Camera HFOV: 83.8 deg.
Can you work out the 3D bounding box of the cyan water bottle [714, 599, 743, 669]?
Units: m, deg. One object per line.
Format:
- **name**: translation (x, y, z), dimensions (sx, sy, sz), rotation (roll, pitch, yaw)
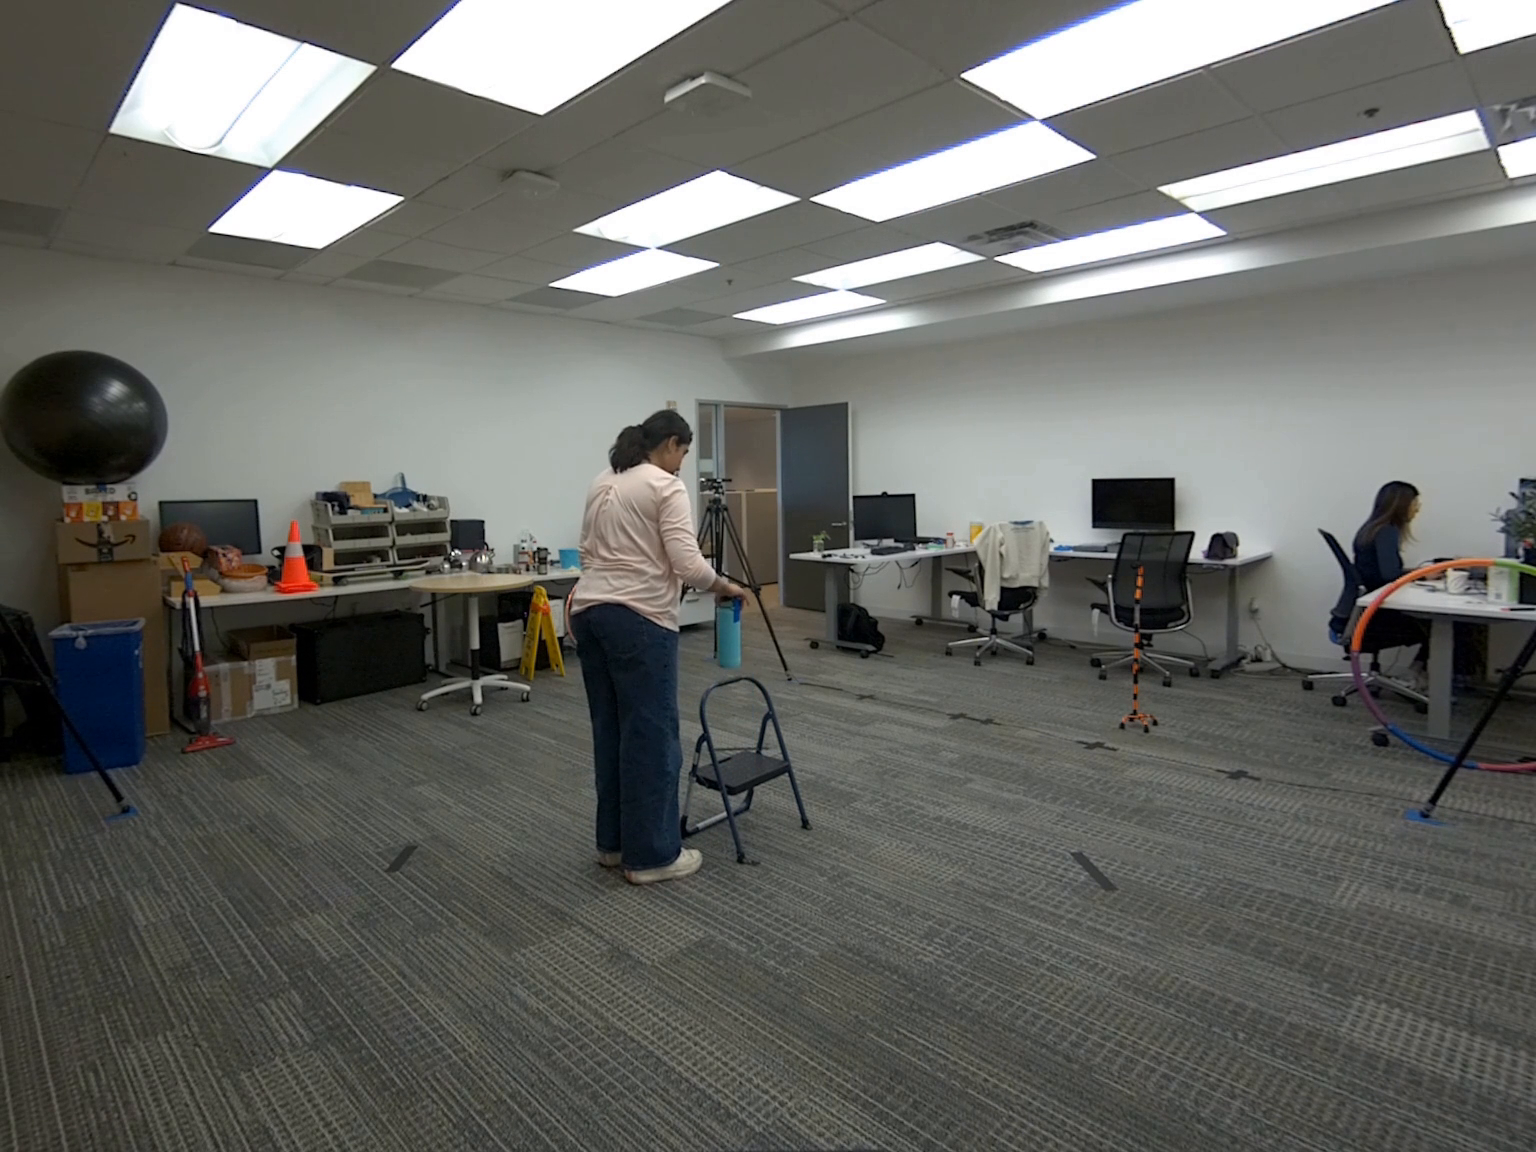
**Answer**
- **cyan water bottle**: translation (-0.150, 0.200, 3.201), dimensions (0.092, 0.281, 0.093), rotation (0, 8, -2)
